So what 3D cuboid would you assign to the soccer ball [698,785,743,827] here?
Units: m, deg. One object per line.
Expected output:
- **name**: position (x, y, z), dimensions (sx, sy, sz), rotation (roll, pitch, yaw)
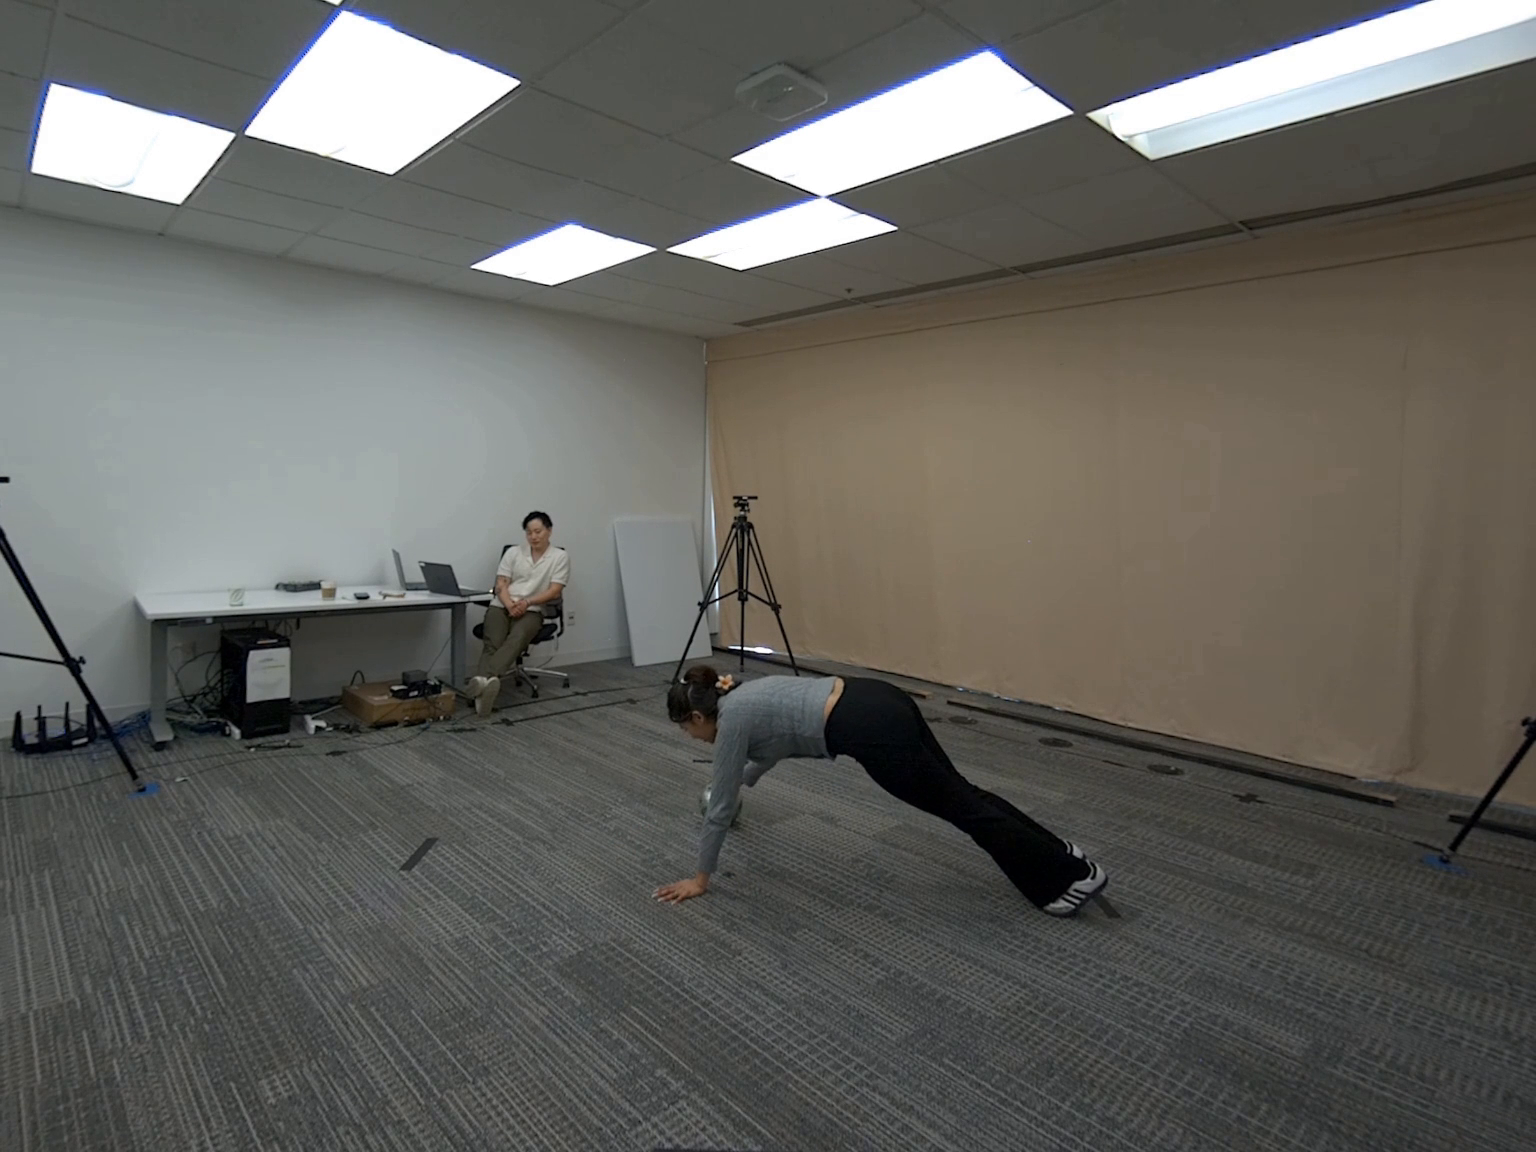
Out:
- **soccer ball**: position (-0.215, 0.971, 3.573), dimensions (0.187, 0.187, 0.188), rotation (1, 4, -1)
